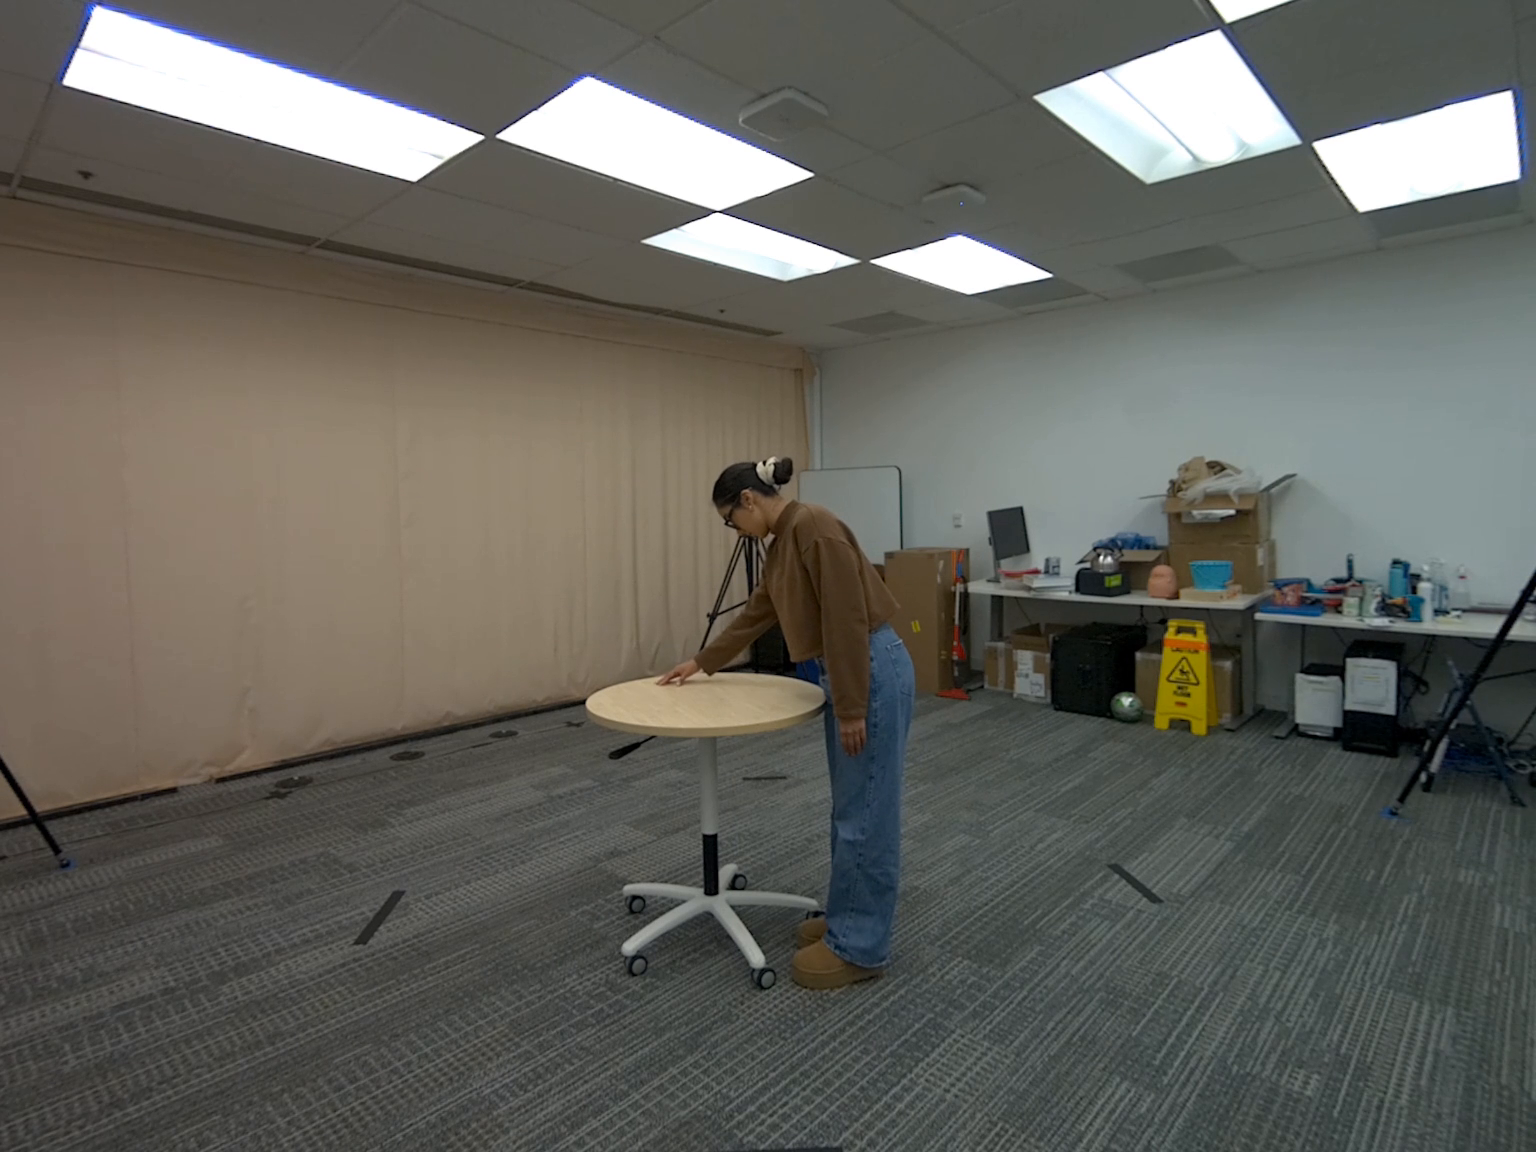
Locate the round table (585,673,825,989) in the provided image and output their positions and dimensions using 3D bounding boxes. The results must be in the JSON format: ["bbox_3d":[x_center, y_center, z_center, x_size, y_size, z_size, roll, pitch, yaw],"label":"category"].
[{"bbox_3d":[-0.188,0.780,2.710,0.763,0.792,0.767,-2,4,-2],"label":"round table"}]
